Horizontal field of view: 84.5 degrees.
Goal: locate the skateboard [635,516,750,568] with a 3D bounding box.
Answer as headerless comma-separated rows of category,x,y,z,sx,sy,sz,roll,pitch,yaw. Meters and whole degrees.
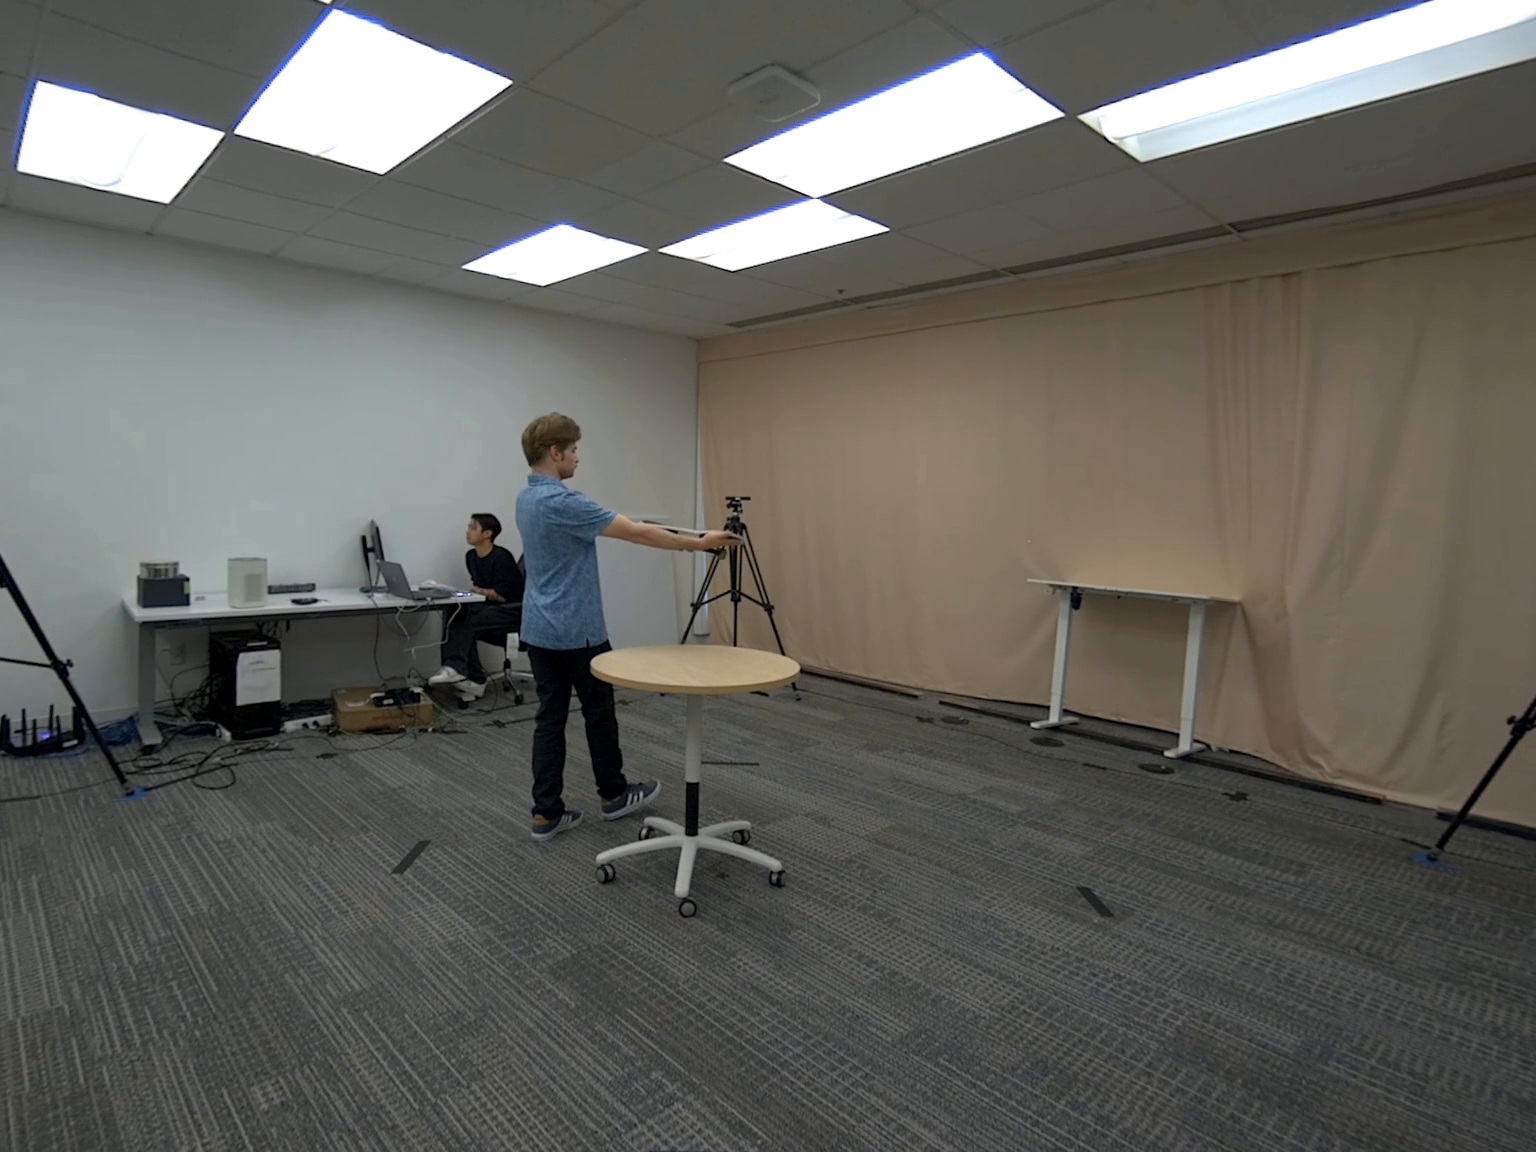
skateboard,-0.366,-0.161,3.704,0.189,0.110,0.804,17,-2,-30
